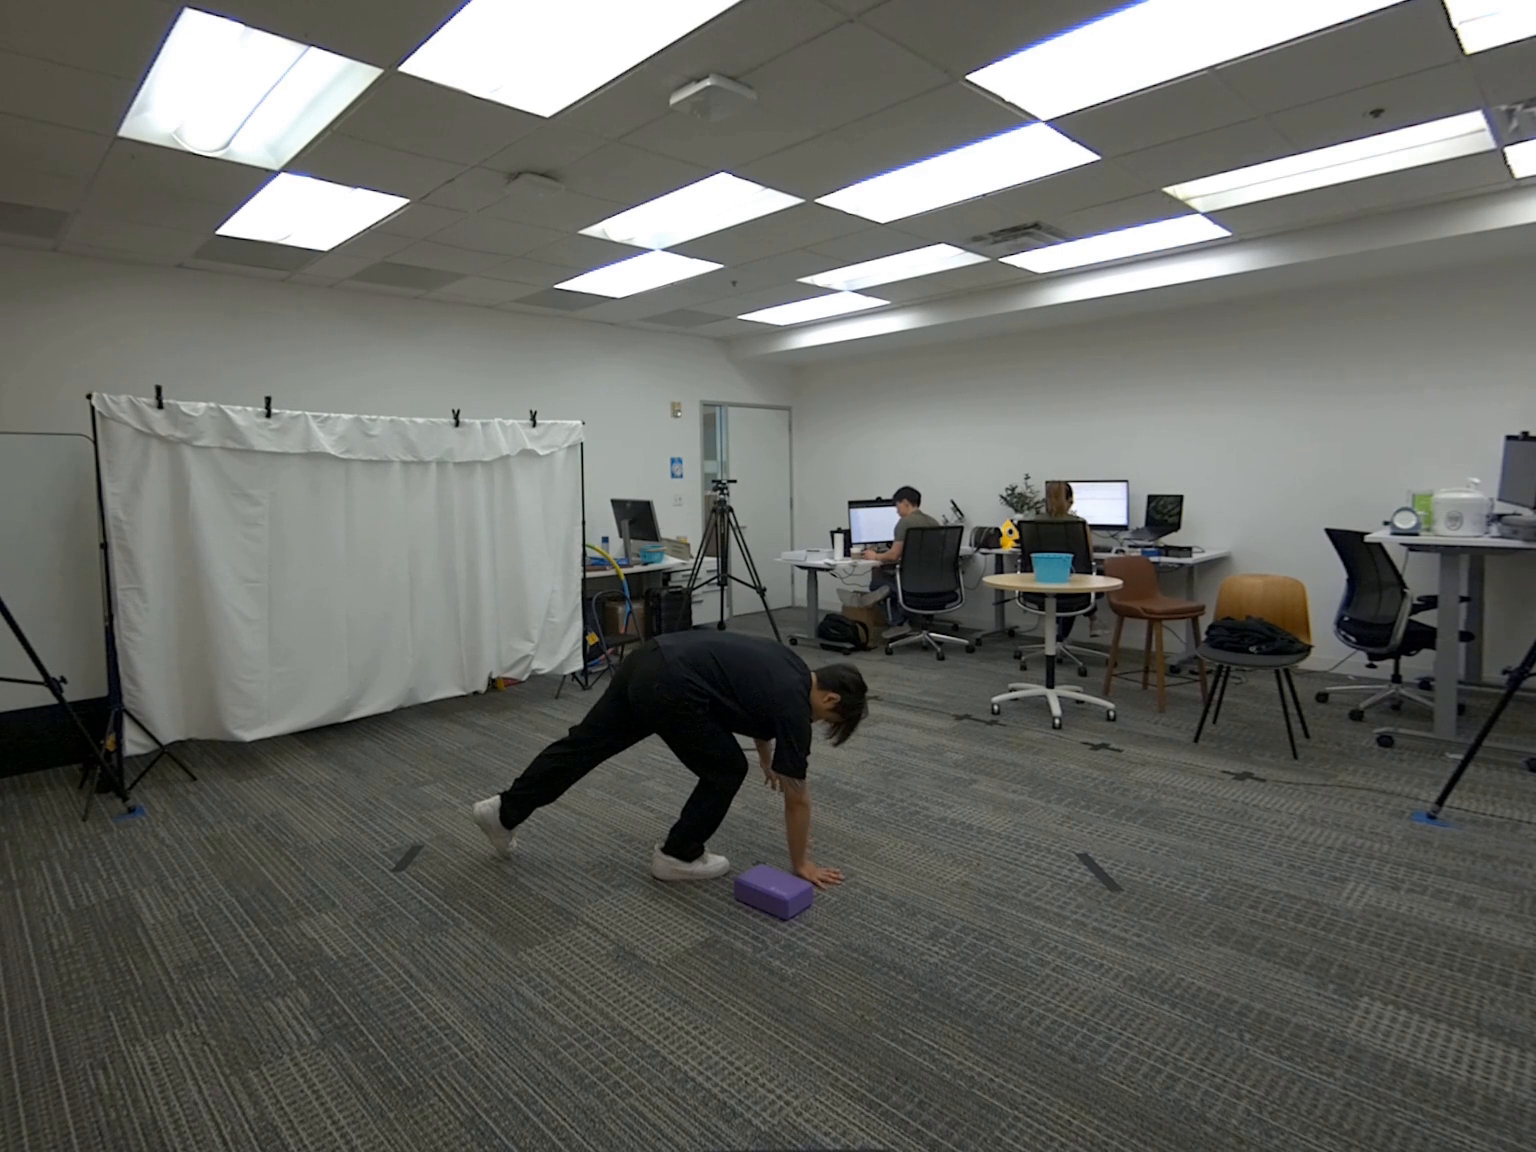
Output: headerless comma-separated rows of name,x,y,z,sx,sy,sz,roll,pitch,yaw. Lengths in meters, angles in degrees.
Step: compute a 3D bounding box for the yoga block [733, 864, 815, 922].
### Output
yoga block,0.021,1.037,2.821,0.236,0.076,0.145,4,8,41
